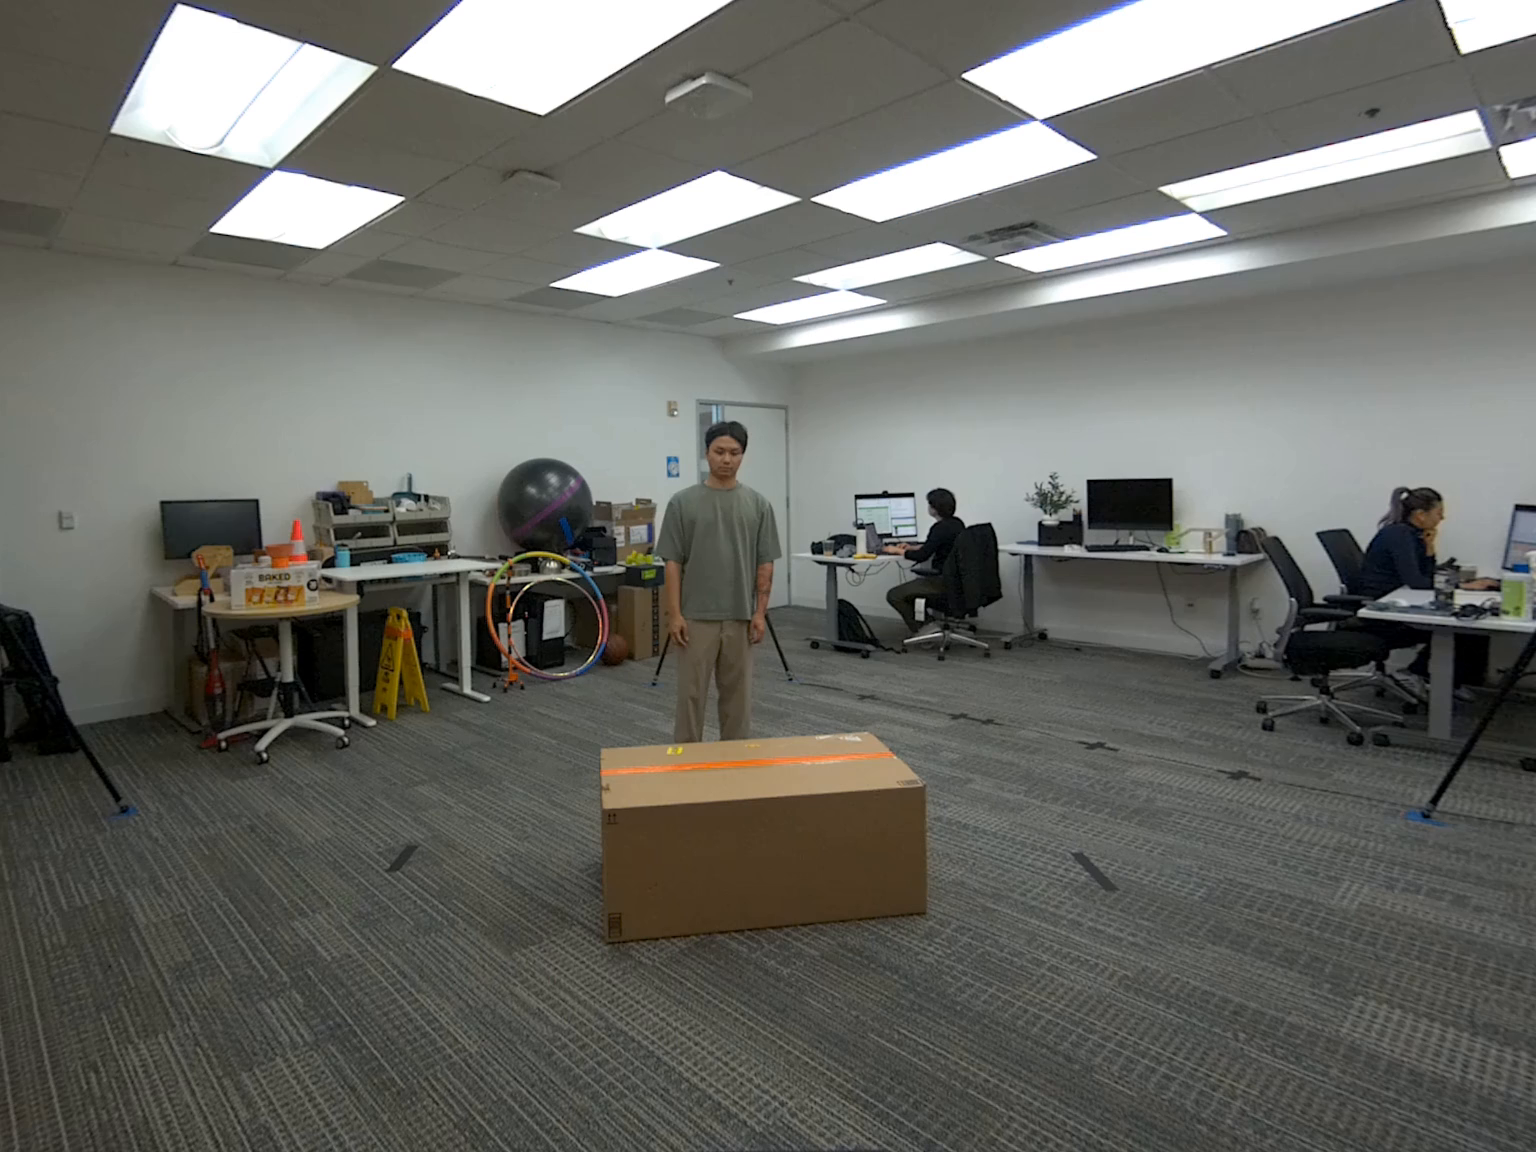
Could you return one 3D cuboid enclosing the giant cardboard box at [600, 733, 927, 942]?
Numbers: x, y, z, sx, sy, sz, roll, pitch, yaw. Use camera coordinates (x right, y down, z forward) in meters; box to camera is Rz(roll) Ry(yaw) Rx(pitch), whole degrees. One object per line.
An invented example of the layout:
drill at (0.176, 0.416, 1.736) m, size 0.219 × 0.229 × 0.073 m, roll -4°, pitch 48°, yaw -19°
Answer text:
giant cardboard box at (-0.052, 0.849, 2.916) m, size 1.017 × 0.425 × 0.585 m, roll -2°, pitch 5°, yaw -9°
